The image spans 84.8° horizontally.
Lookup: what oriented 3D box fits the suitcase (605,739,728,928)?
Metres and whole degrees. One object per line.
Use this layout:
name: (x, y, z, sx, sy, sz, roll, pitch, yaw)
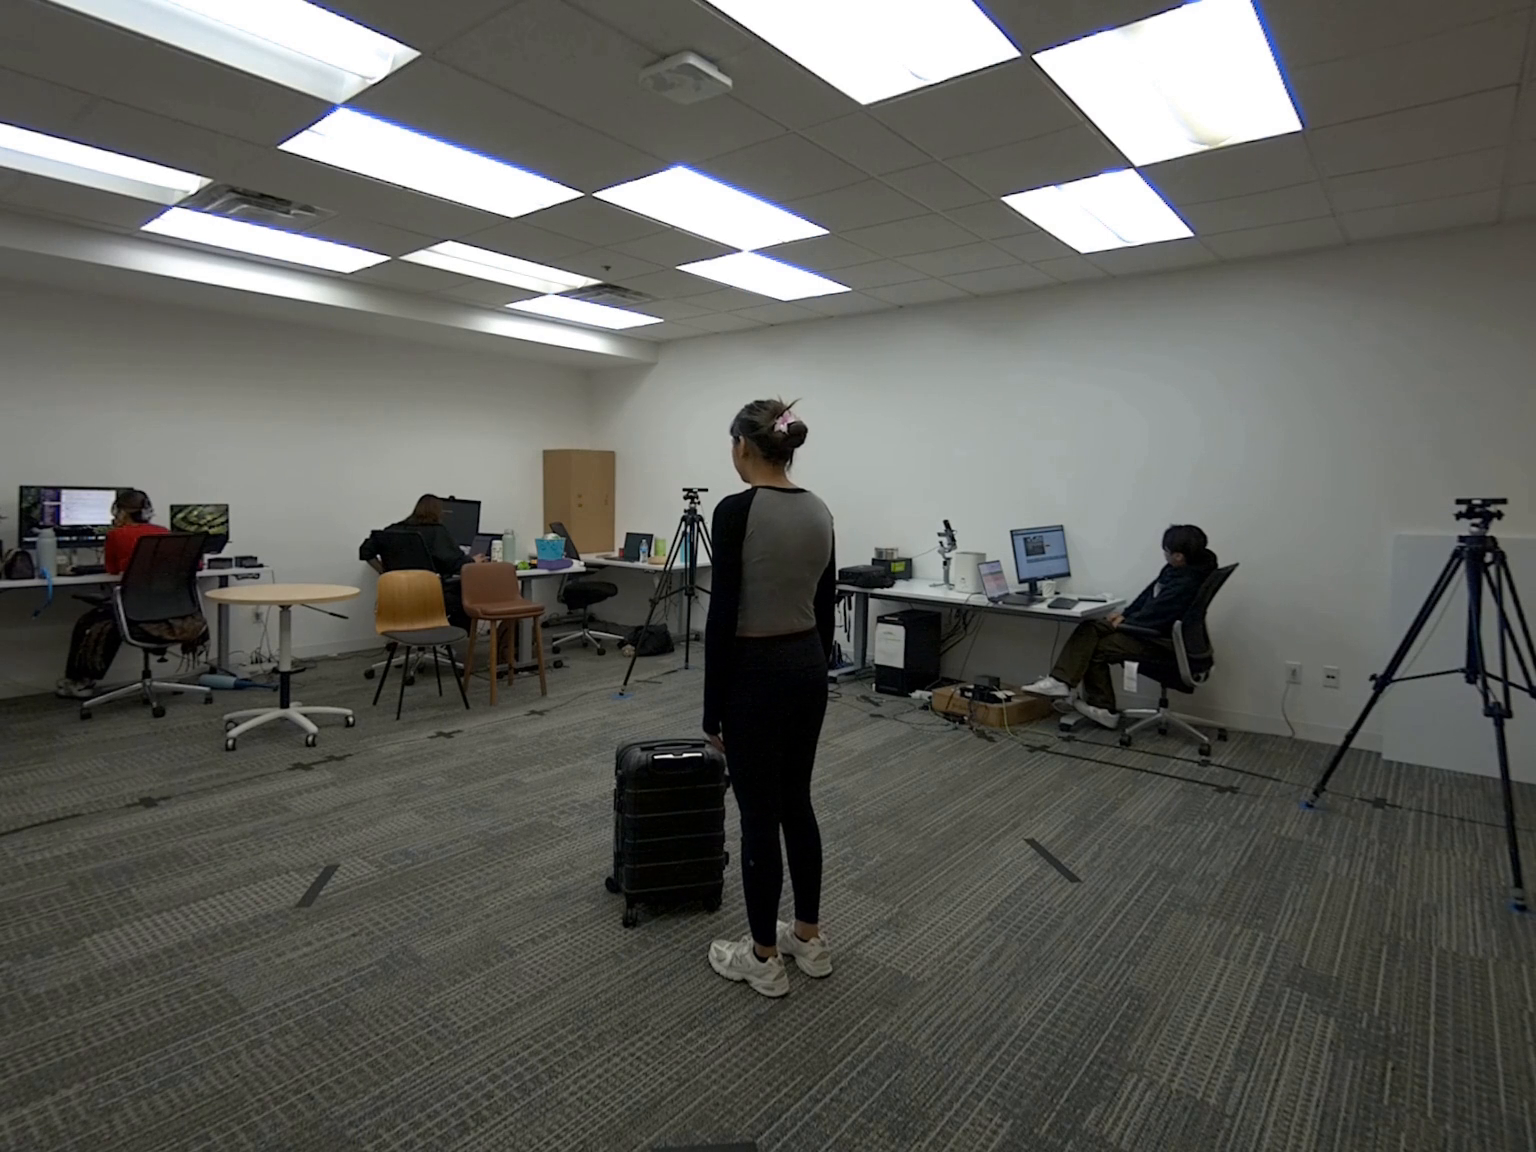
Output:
suitcase: (-0.348, 0.814, 2.850, 0.369, 0.548, 0.253, 0, 3, -17)
